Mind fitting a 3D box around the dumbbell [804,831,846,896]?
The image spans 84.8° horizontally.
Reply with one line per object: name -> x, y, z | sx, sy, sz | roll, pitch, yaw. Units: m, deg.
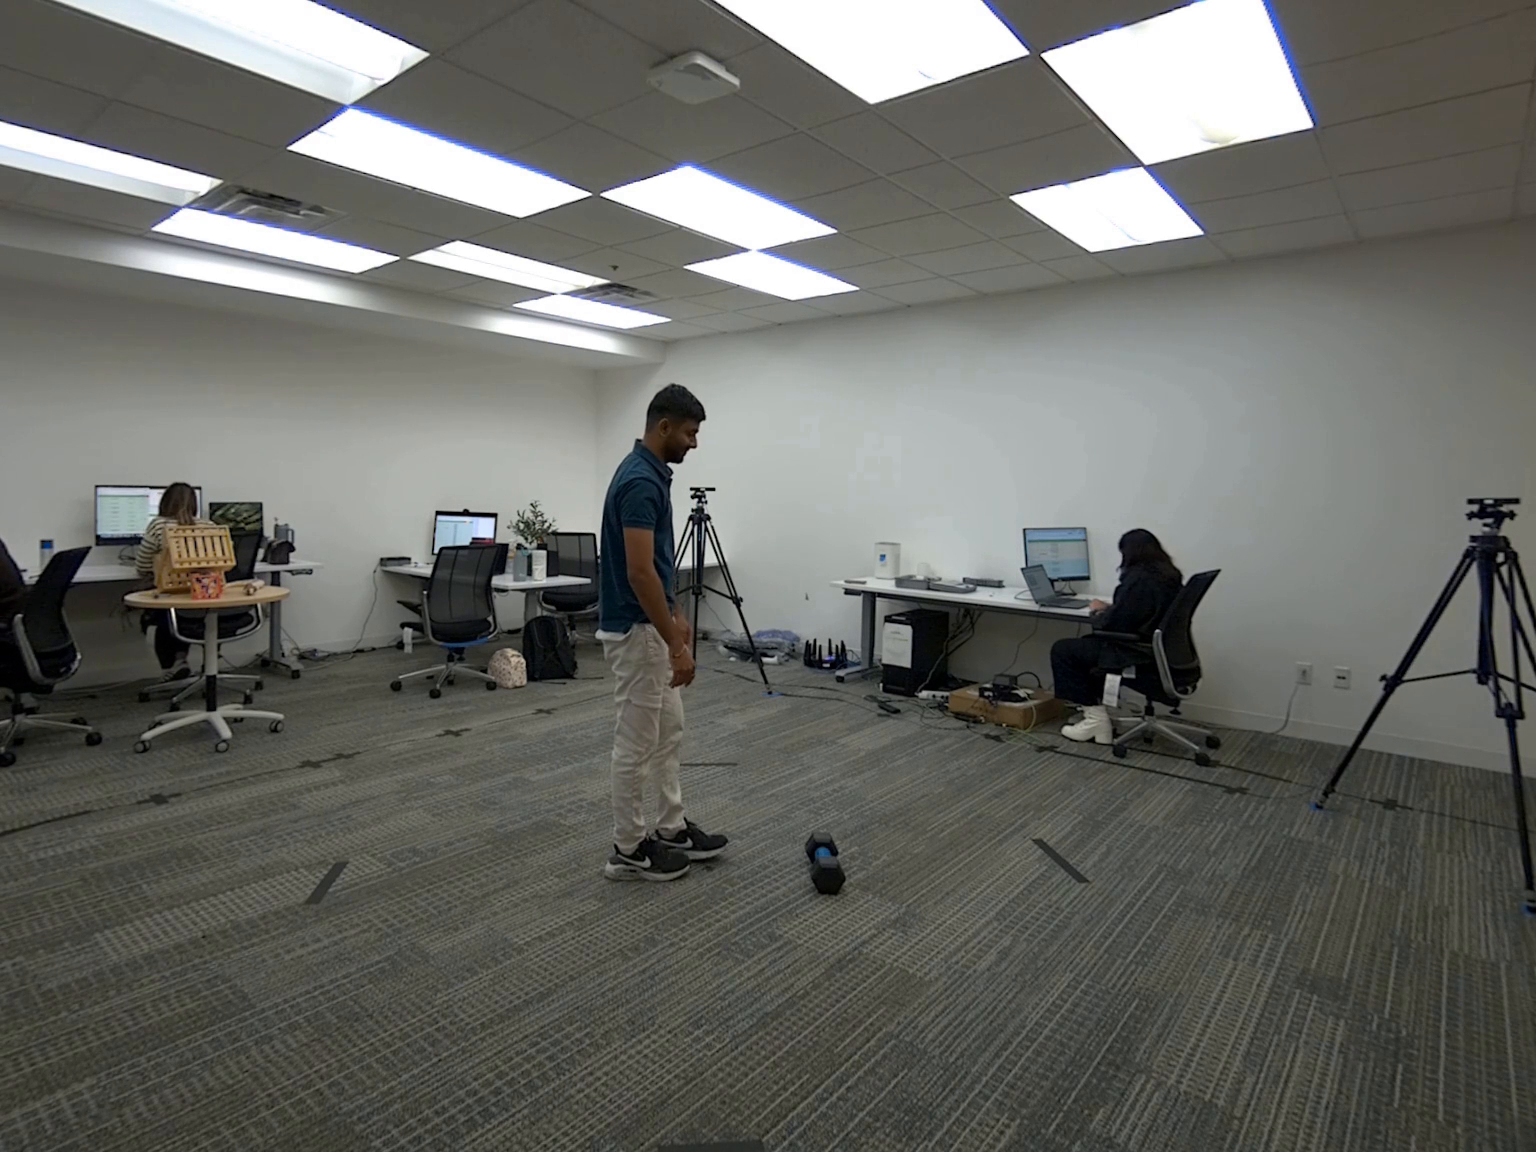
dumbbell -> 0.195, 1.027, 3.061 | 0.108, 0.123, 0.295 | 32, 3, -5
